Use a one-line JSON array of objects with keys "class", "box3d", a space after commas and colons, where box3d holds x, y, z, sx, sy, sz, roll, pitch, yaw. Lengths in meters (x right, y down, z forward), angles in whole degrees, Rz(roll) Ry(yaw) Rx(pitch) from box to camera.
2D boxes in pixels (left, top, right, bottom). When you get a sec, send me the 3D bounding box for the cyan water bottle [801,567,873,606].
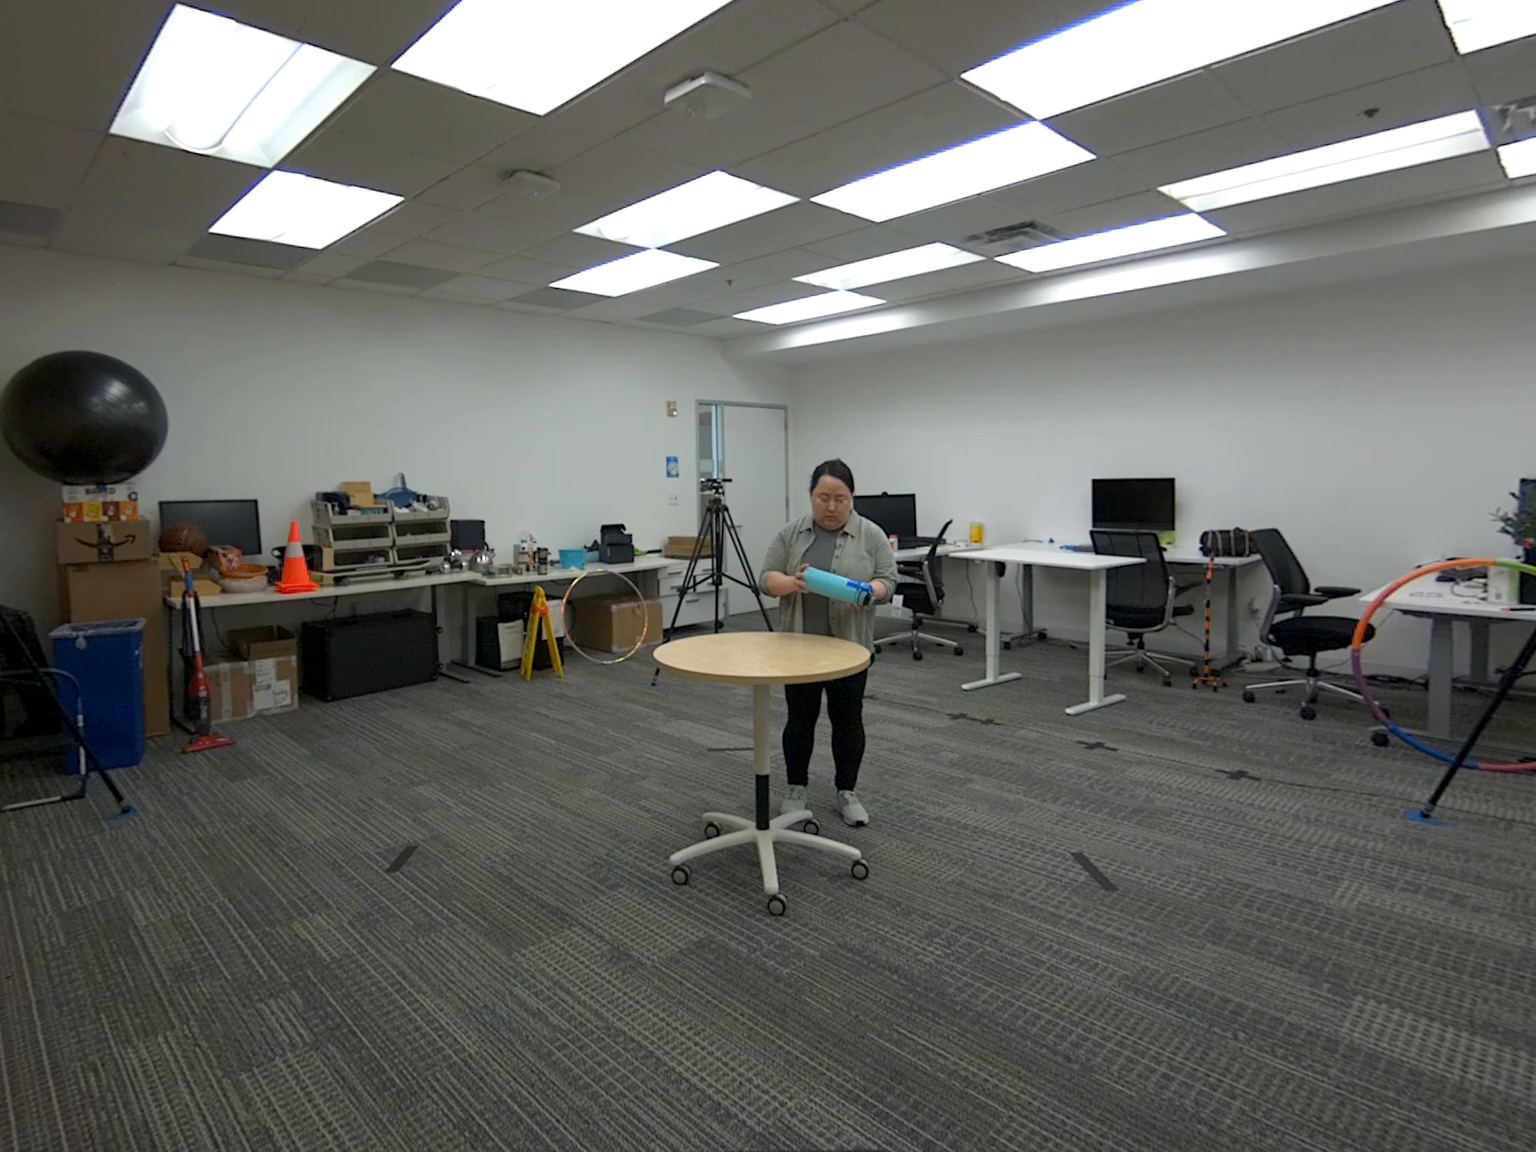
[{"class": "cyan water bottle", "box3d": [0.273, 0.050, 3.232, 0.292, 0.091, 0.090, 17, 13, 27]}]
